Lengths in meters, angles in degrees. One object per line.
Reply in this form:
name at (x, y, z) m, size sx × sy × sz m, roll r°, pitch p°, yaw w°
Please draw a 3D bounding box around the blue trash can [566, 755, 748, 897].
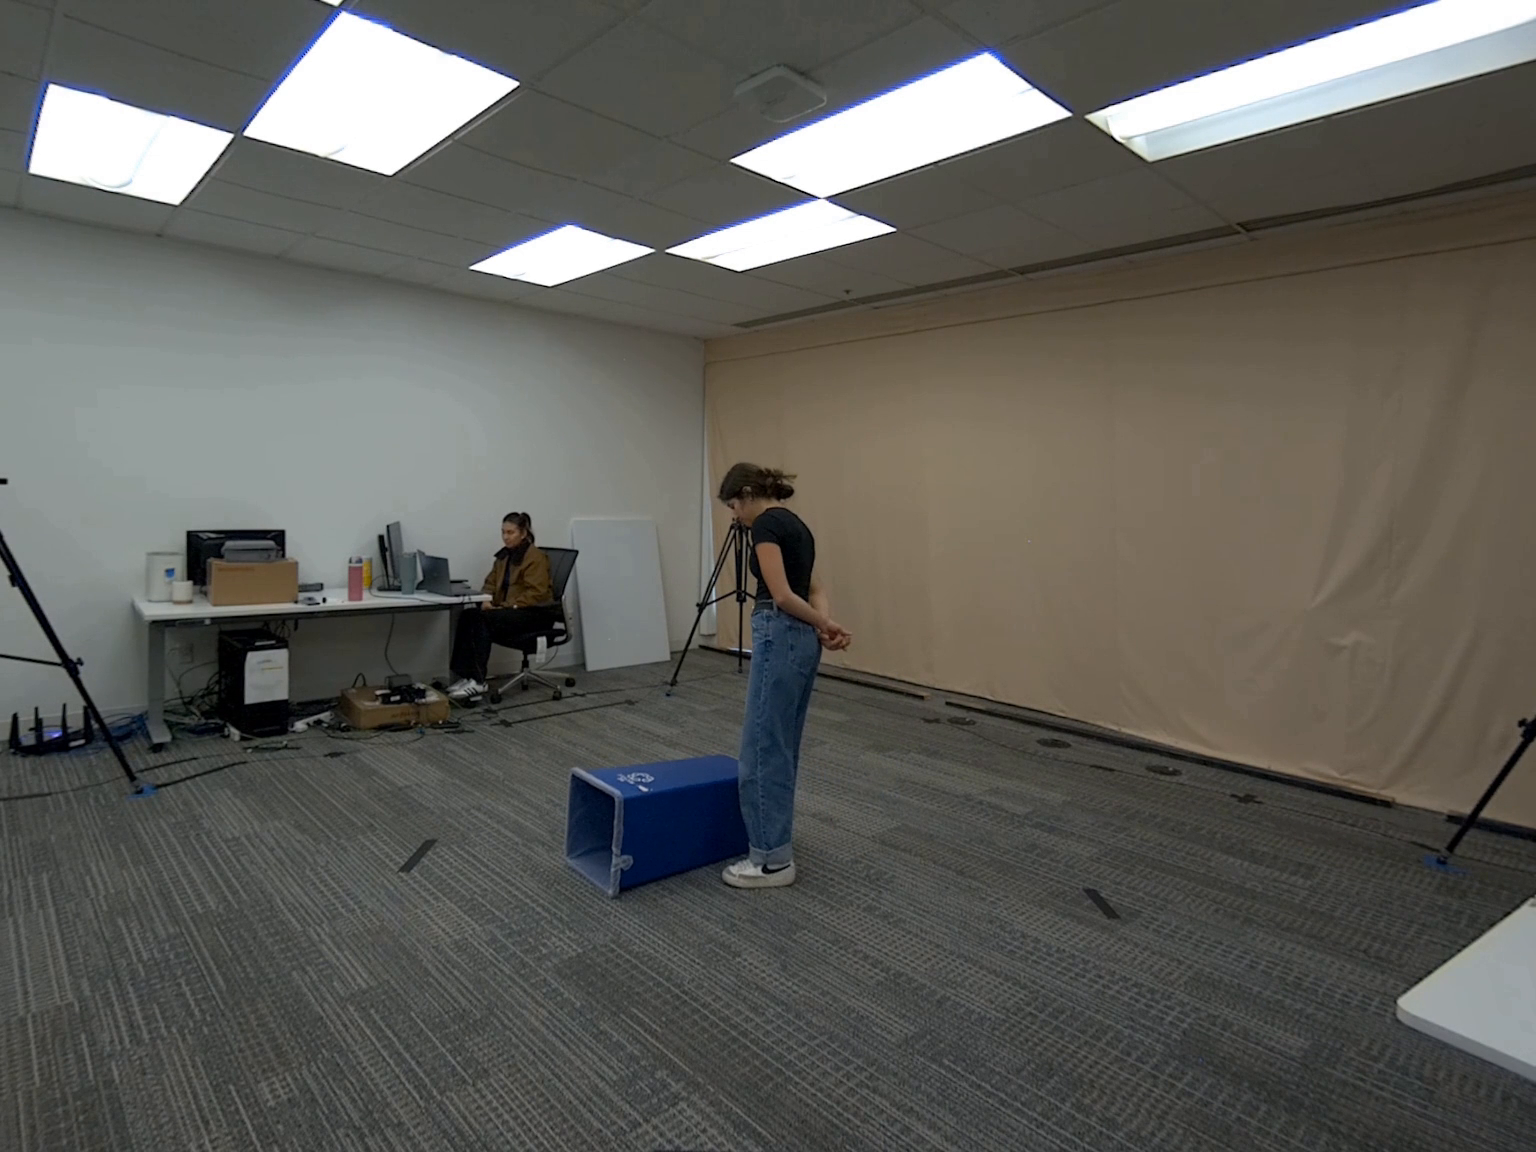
blue trash can at (-0.386, 0.921, 3.249) m, size 0.696 × 0.377 × 0.384 m, roll 1°, pitch 3°, yaw -41°
